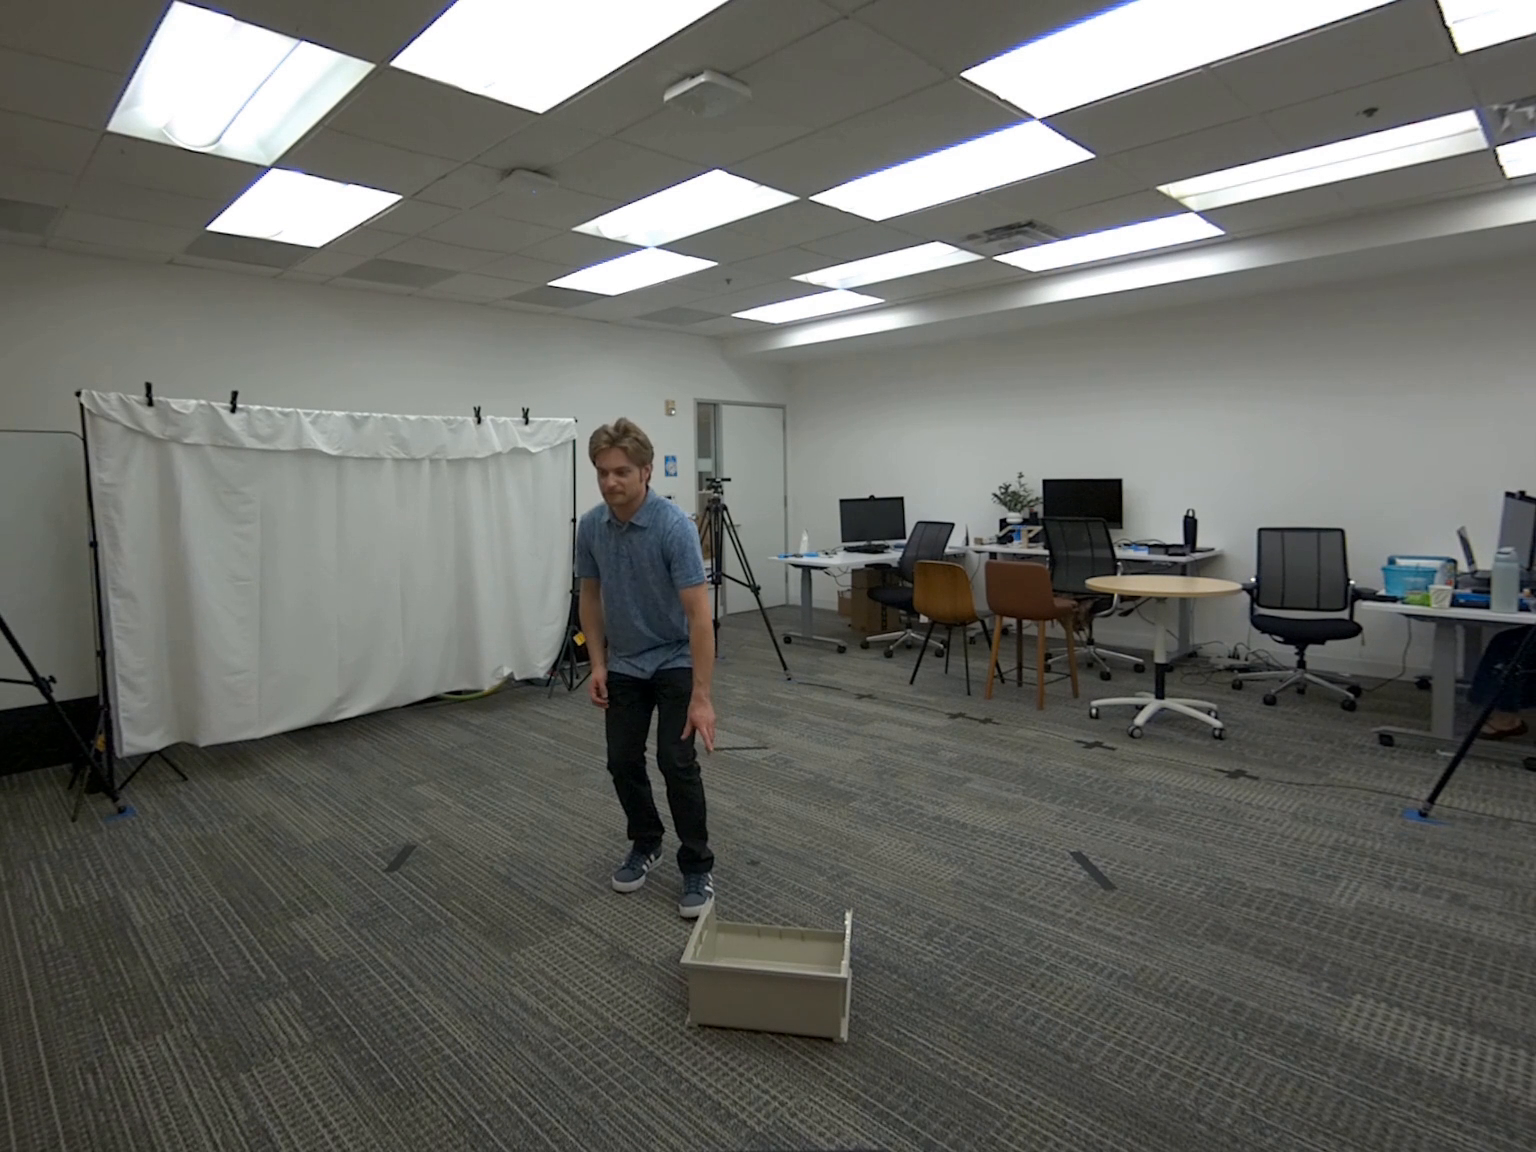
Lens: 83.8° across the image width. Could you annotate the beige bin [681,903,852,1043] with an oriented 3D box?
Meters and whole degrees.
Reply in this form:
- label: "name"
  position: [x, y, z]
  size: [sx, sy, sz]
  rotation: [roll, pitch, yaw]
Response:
- label: "beige bin"
  position: [0.017, 1.048, 2.312]
  size: [0.426, 0.188, 0.376]
  rotation: [1, 7, 9]
